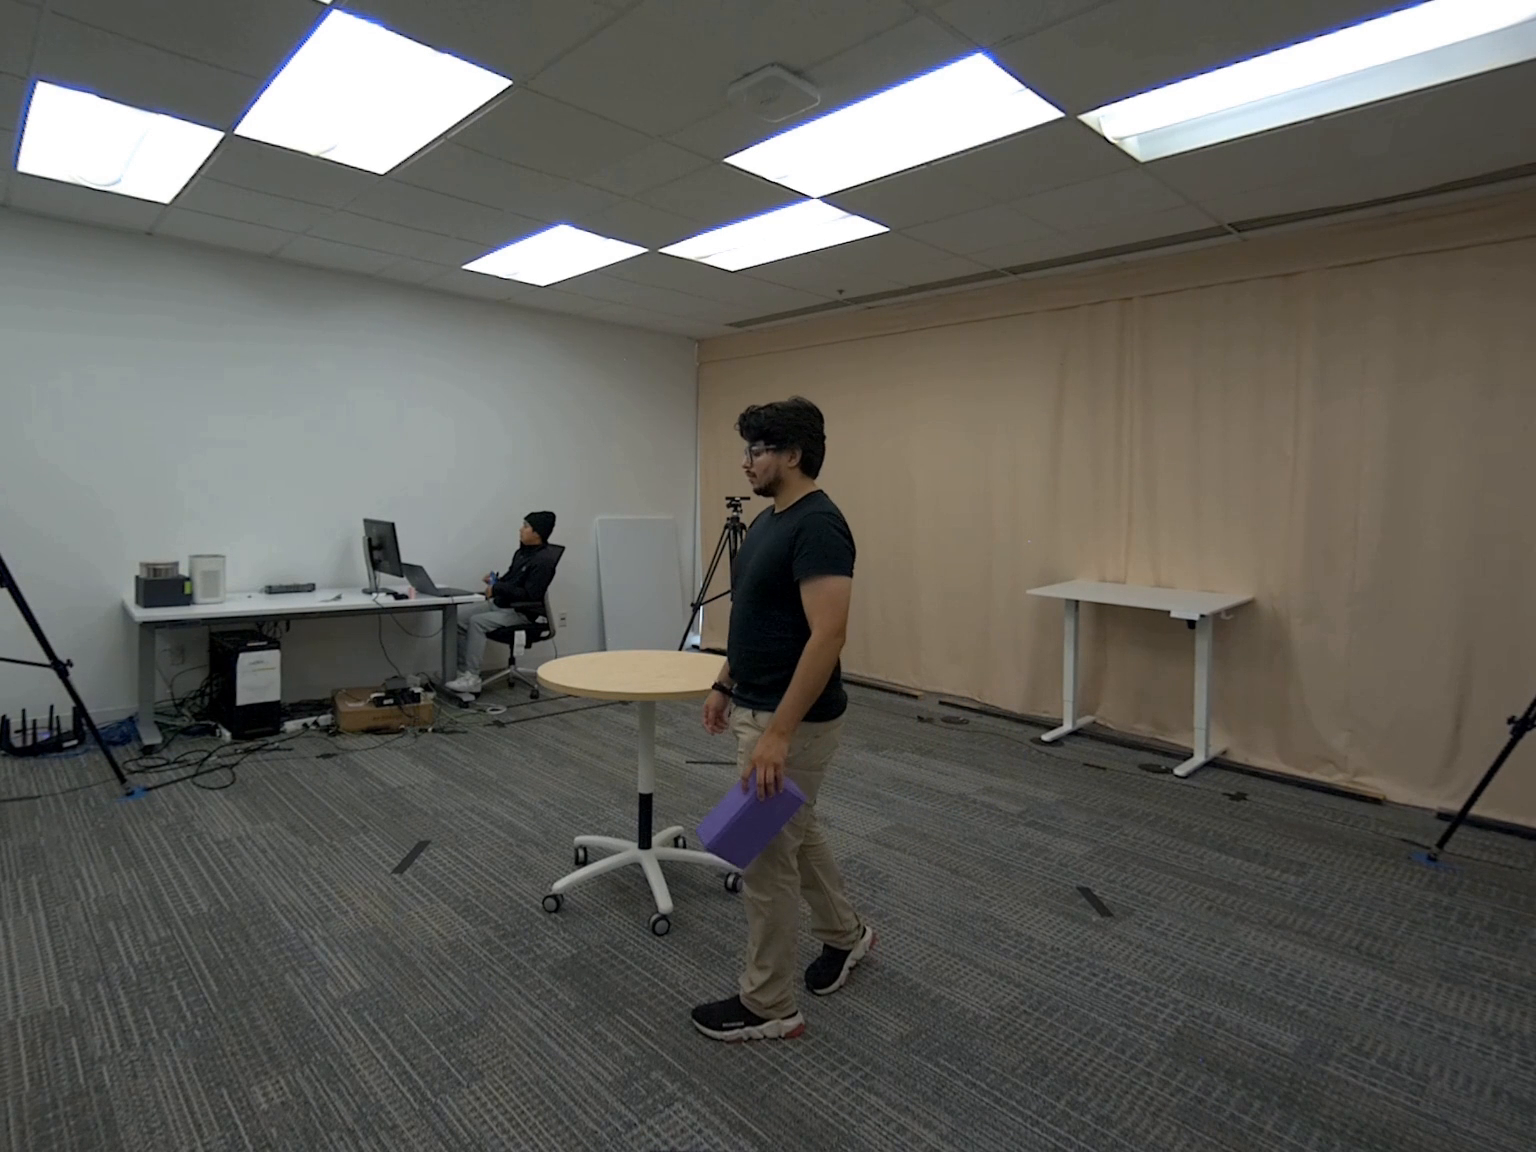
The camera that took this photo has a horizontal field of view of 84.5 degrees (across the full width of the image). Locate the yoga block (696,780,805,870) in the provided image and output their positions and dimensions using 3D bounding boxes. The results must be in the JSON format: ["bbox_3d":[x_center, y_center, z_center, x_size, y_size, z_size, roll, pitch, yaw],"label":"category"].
[{"bbox_3d":[-0.044,0.563,1.960,0.144,0.229,0.079,40,0,-34],"label":"yoga block"}]
